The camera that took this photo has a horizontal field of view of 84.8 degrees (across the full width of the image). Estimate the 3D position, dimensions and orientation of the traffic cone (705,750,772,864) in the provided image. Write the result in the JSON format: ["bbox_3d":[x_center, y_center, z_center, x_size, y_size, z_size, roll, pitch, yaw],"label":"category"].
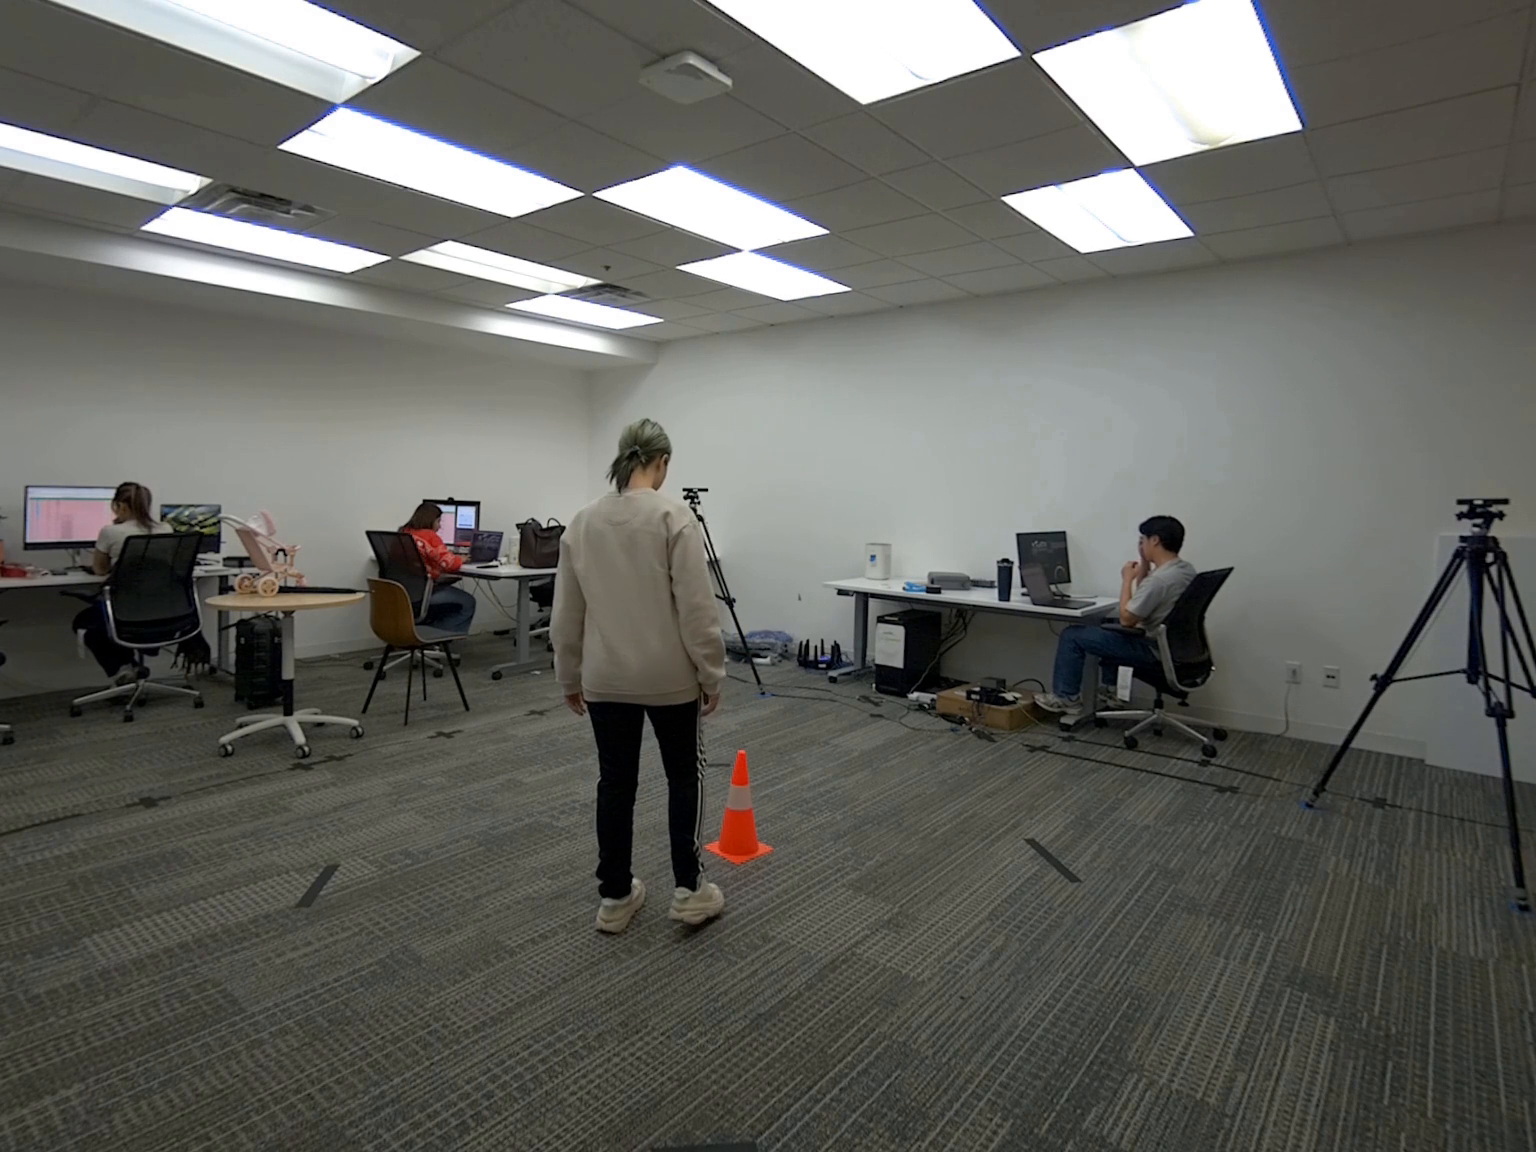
[{"bbox_3d":[-0.120,0.871,3.285,0.197,0.382,0.212,-3,6,-41],"label":"traffic cone"}]
